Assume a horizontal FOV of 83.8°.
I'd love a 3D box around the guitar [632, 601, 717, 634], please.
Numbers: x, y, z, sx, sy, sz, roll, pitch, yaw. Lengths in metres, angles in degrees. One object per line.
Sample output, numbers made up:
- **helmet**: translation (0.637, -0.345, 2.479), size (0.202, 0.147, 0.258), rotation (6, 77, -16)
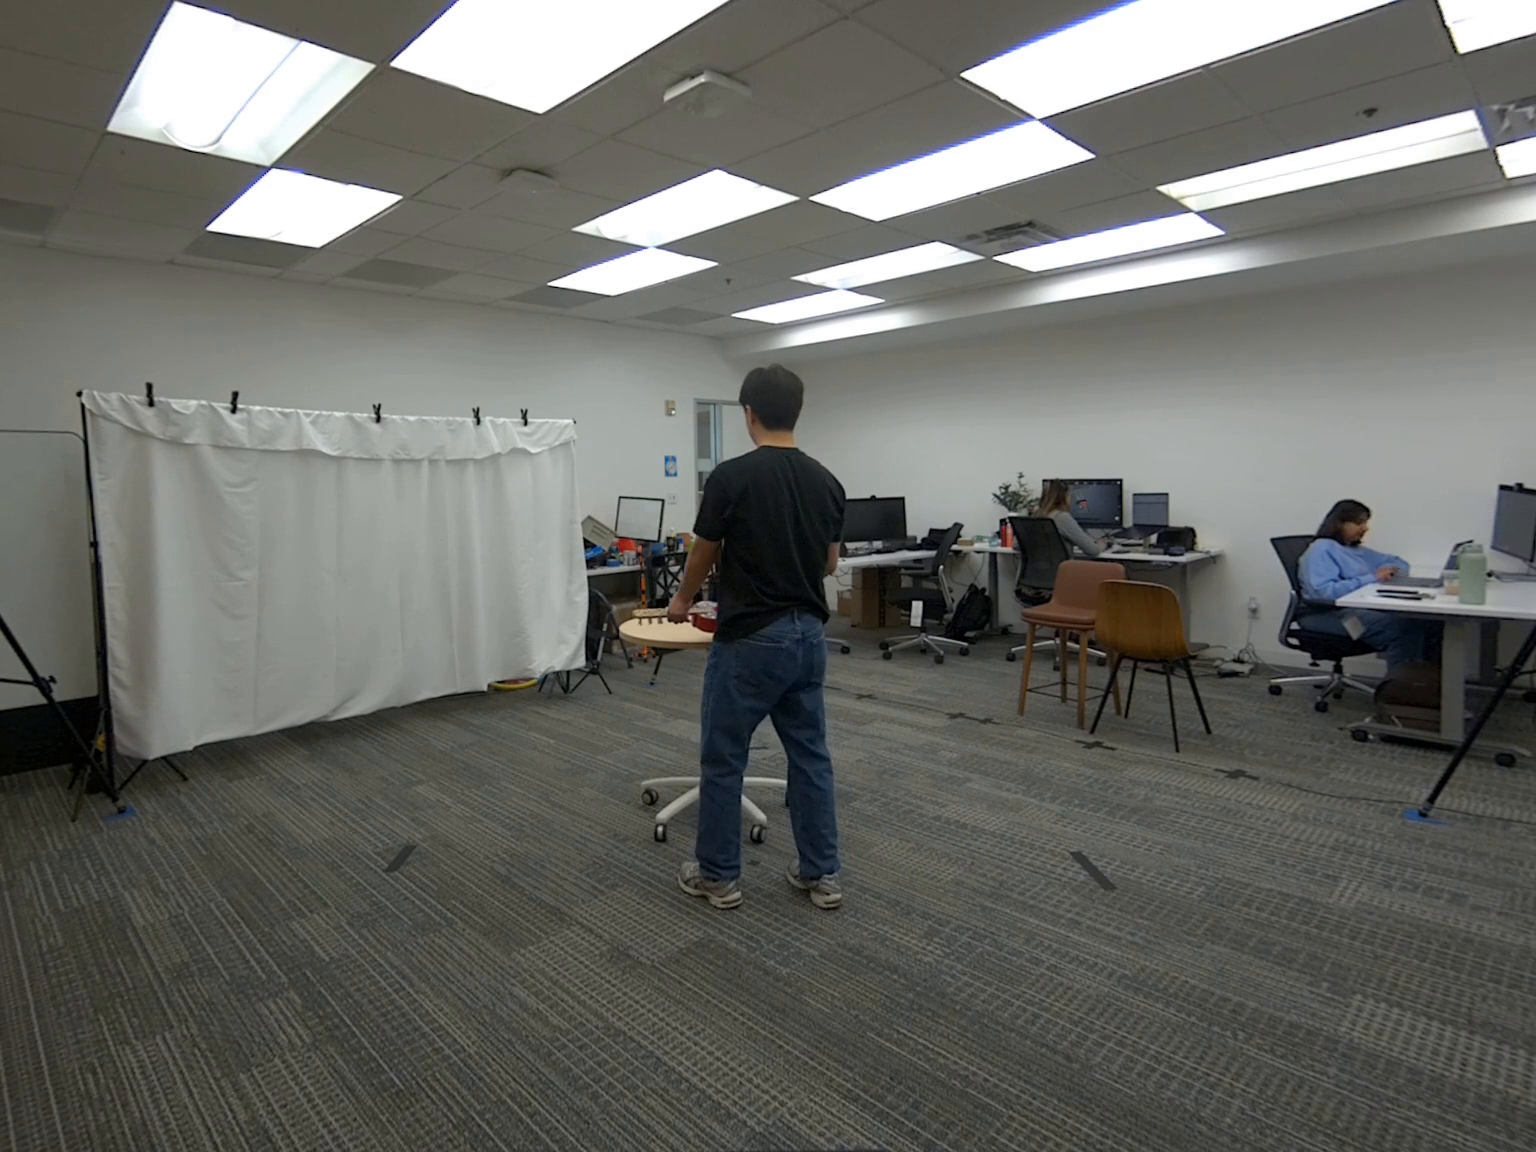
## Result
- **guitar**: translation (-0.252, 0.138, 3.155), size (0.493, 0.069, 0.198), rotation (0, 23, -9)
